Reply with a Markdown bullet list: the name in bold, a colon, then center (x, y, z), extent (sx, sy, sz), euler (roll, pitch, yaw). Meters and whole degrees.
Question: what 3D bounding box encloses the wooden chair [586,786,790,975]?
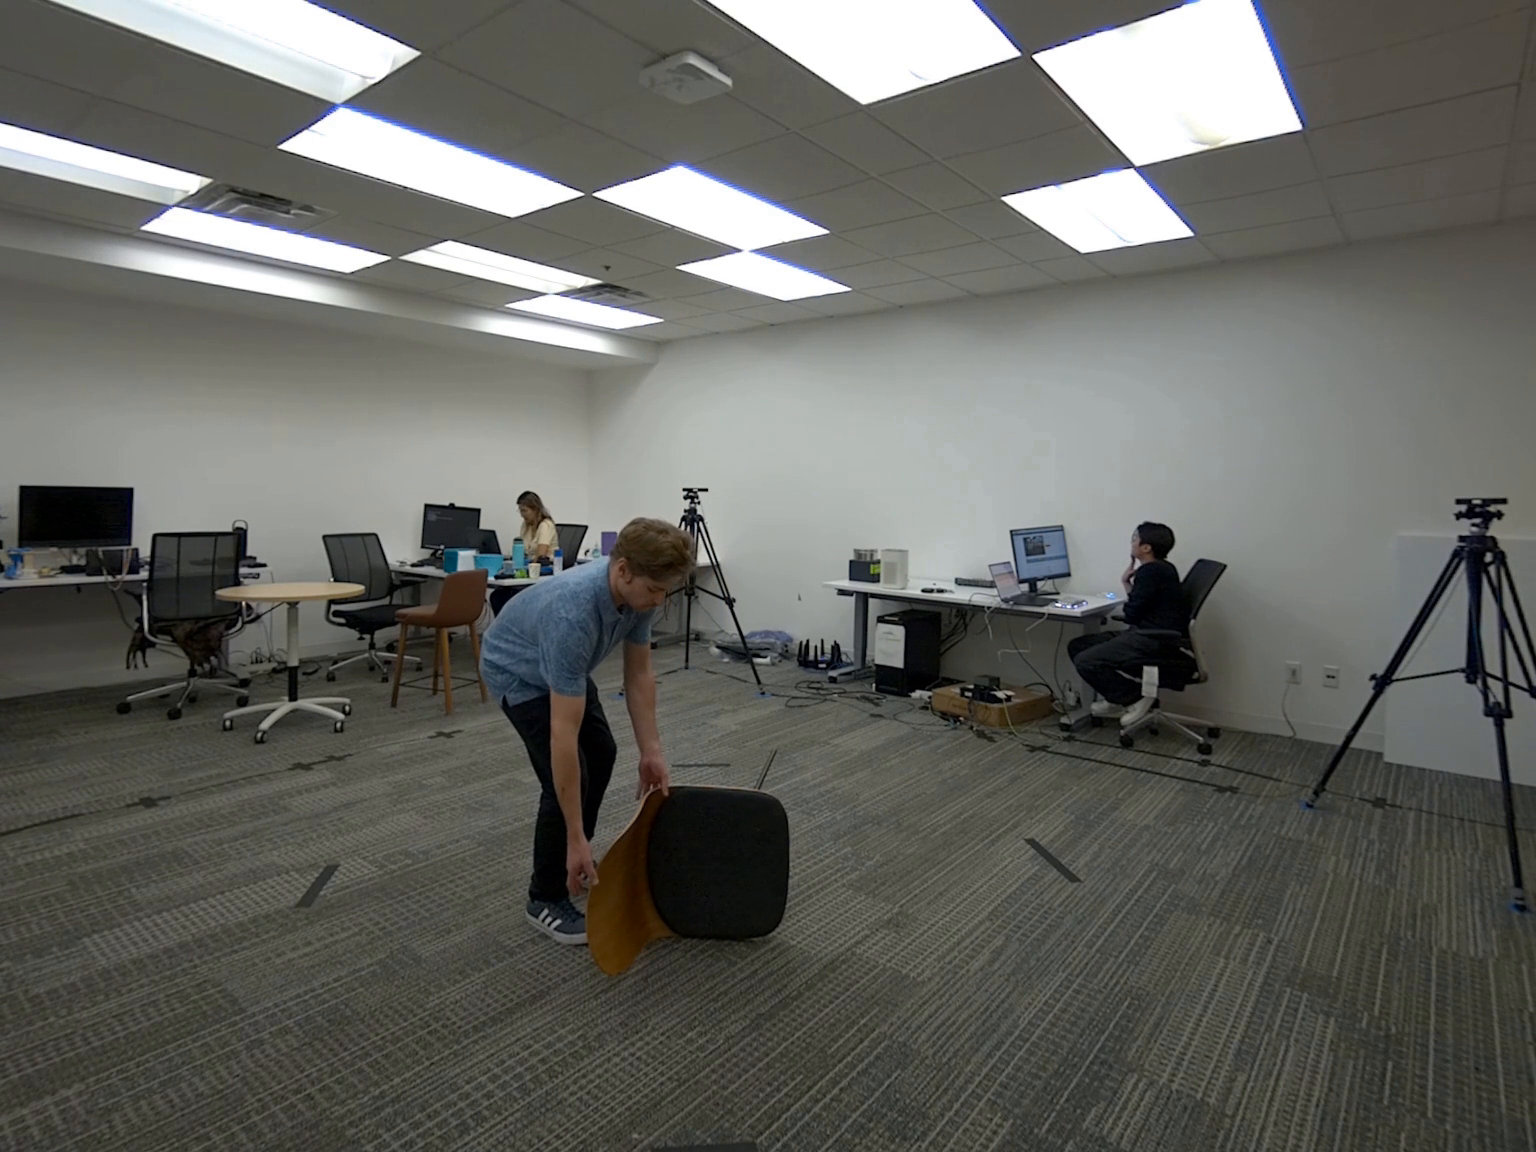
- **wooden chair**: center (-0.213, 0.878, 2.668), extent (0.527, 0.477, 0.874), euler (2, 4, 5)
